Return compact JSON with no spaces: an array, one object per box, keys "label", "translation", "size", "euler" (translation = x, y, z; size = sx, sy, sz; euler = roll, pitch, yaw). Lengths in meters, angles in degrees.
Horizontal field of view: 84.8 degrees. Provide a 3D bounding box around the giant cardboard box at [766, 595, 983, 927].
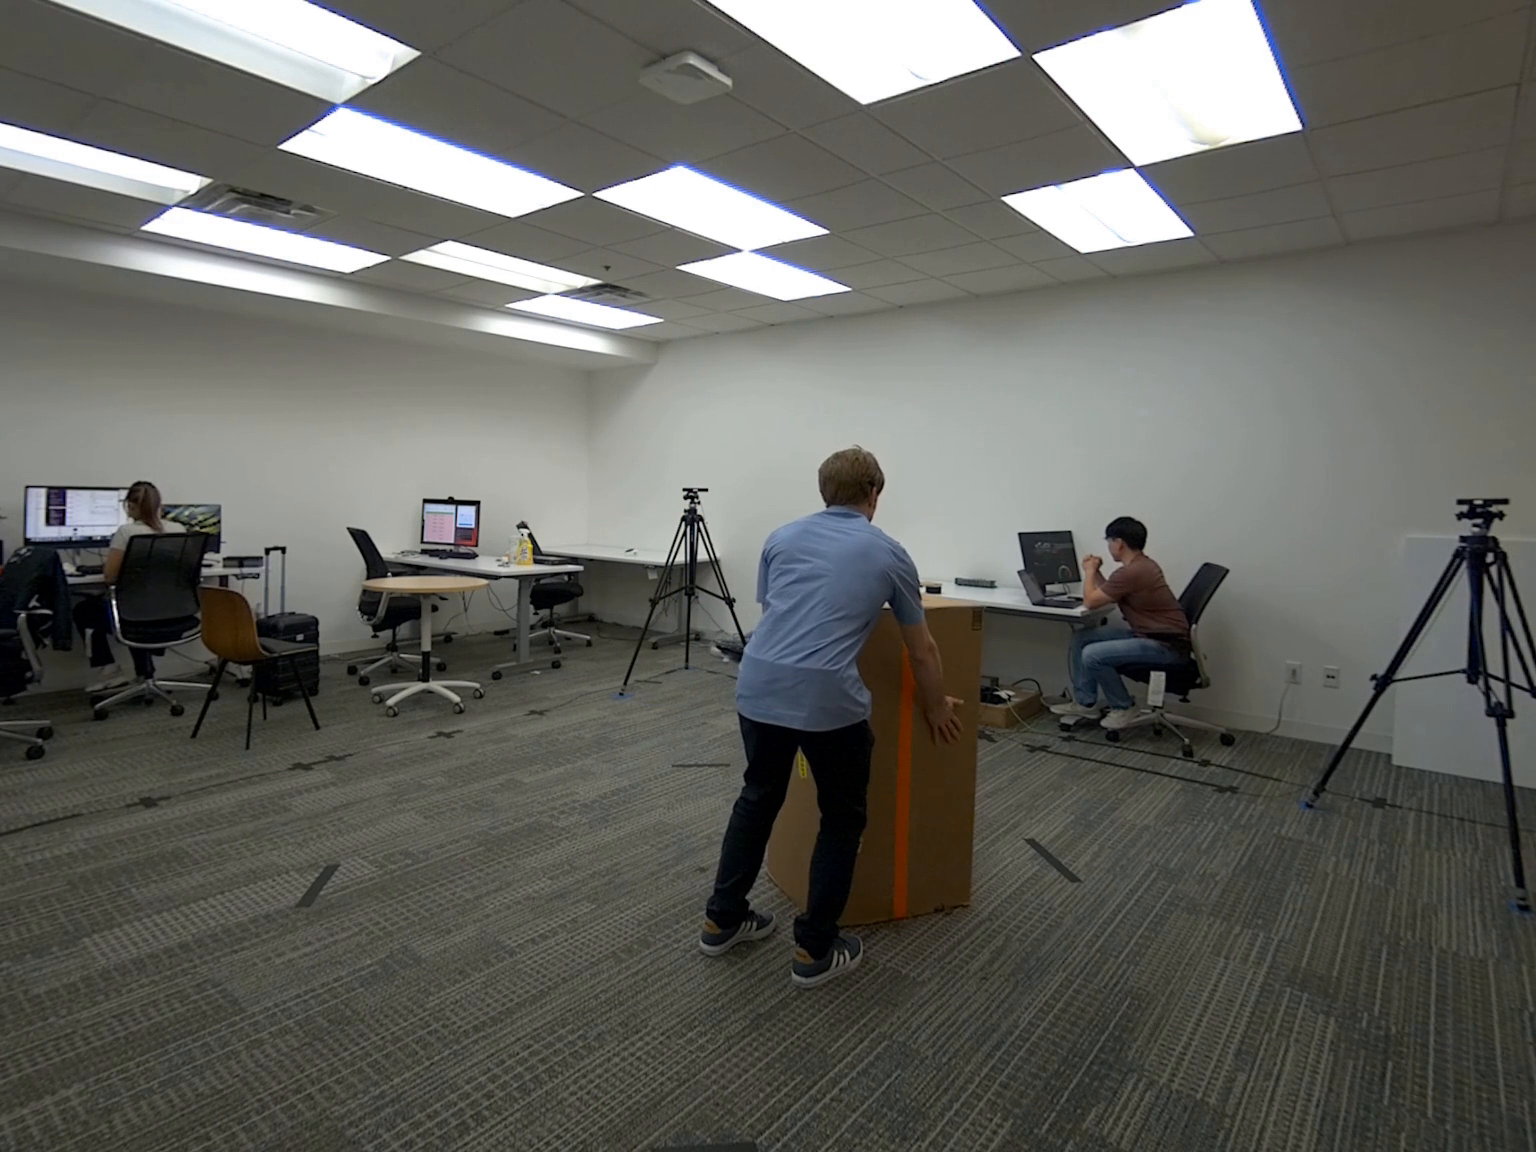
[{"label":"giant cardboard box","translation":[0.362,0.591,2.964],"size":[0.565,1.024,0.436],"euler":[1,2,-22]}]
